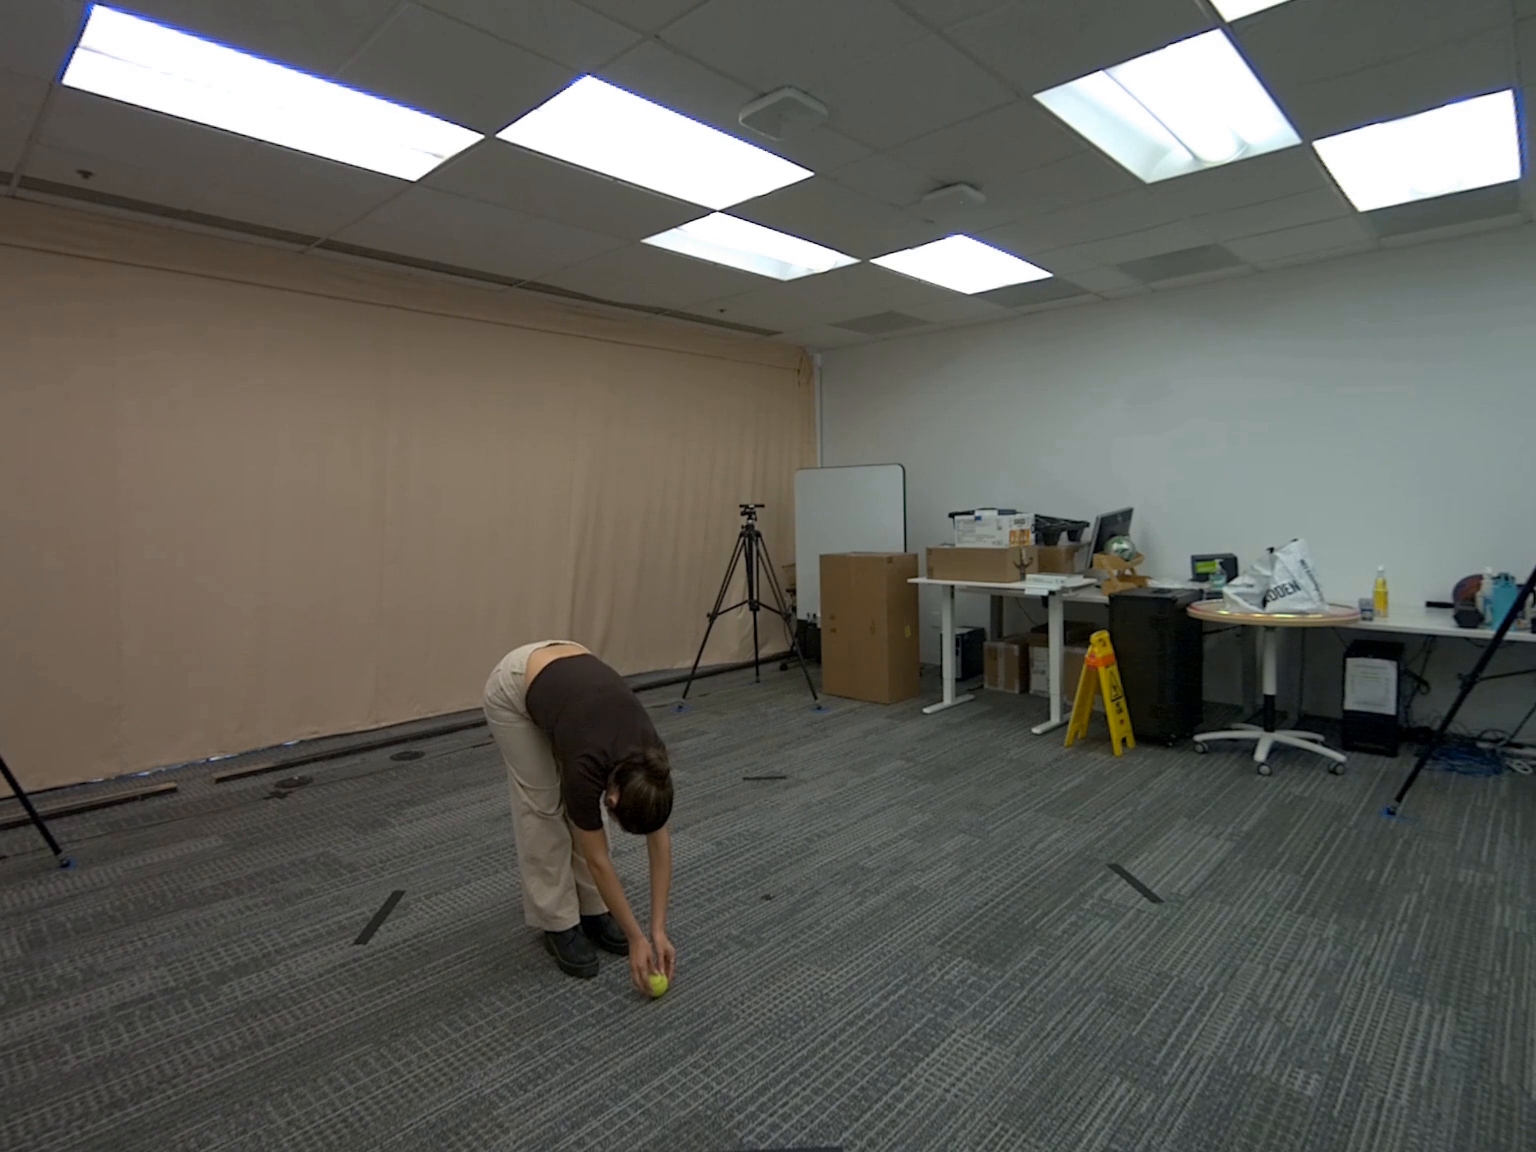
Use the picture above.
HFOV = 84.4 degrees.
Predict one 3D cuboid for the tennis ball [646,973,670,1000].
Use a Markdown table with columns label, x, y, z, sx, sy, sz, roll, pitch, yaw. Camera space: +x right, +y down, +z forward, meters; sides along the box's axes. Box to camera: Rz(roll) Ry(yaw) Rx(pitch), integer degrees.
| label | x | y | z | sx | sy | sz | roll | pitch | yaw |
| --- | --- | --- | --- | --- | --- | --- | --- | --- | --- |
| tennis ball | -0.324 | 1.144 | 2.386 | 0.066 | 0.066 | 0.067 | -1 | 4 | -2 |
